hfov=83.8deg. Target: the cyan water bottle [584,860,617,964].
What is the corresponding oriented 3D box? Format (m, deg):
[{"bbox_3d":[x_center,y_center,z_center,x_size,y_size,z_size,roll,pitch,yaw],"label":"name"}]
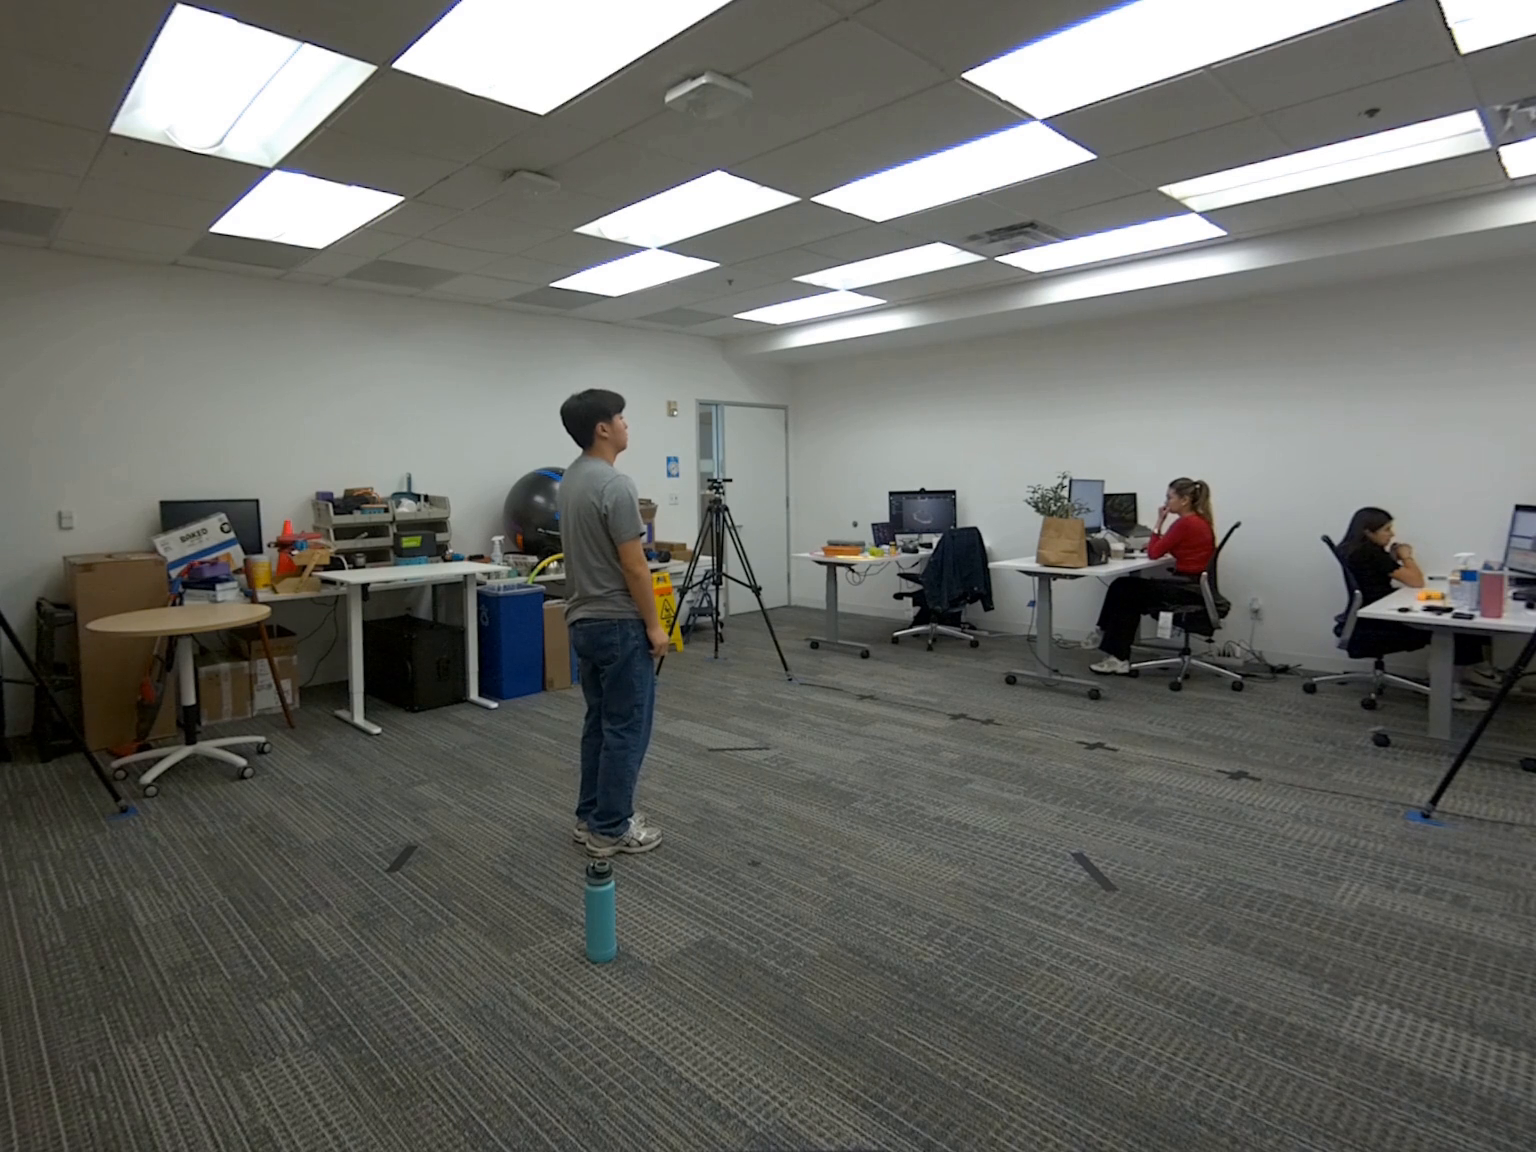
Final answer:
[{"bbox_3d":[-0.487,0.982,2.523,0.092,0.283,0.092,-1,0,-2],"label":"cyan water bottle"}]
